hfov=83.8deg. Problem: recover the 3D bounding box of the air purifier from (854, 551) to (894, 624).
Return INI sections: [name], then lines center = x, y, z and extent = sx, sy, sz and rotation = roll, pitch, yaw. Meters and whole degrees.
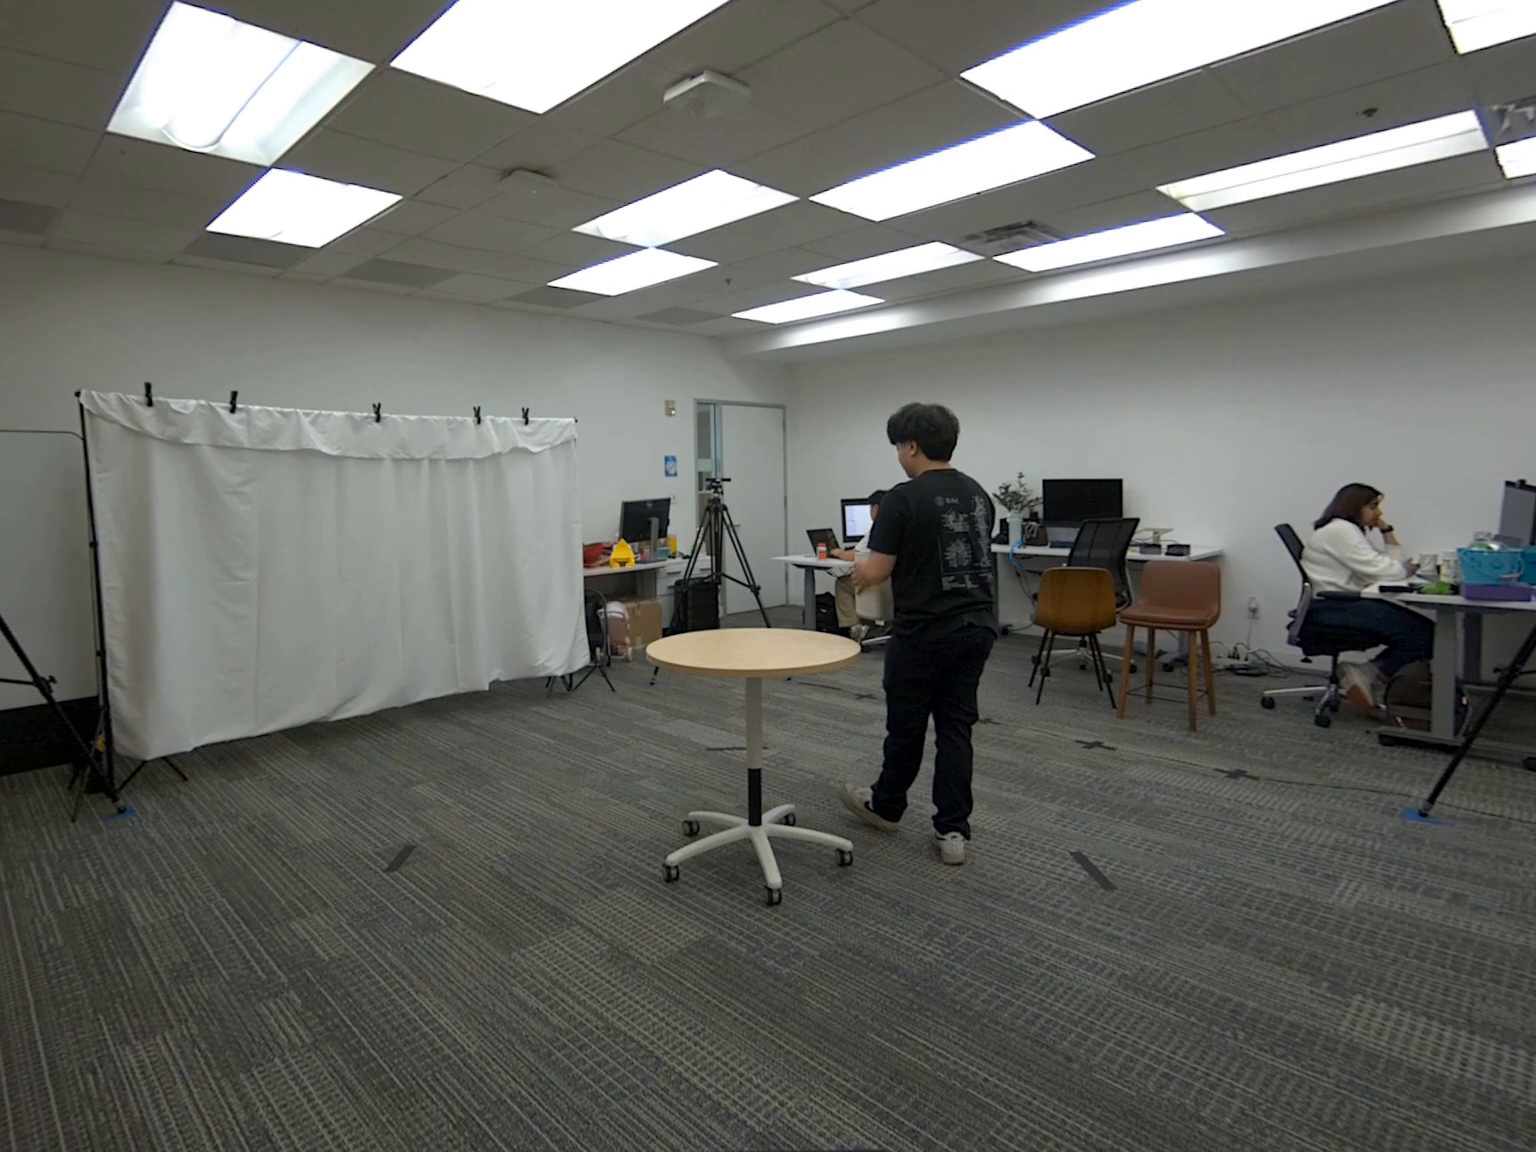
[air purifier]
center = 0.472, 0.036, 3.463
extent = 0.167, 0.264, 0.177
rotation = -5, 7, -34
